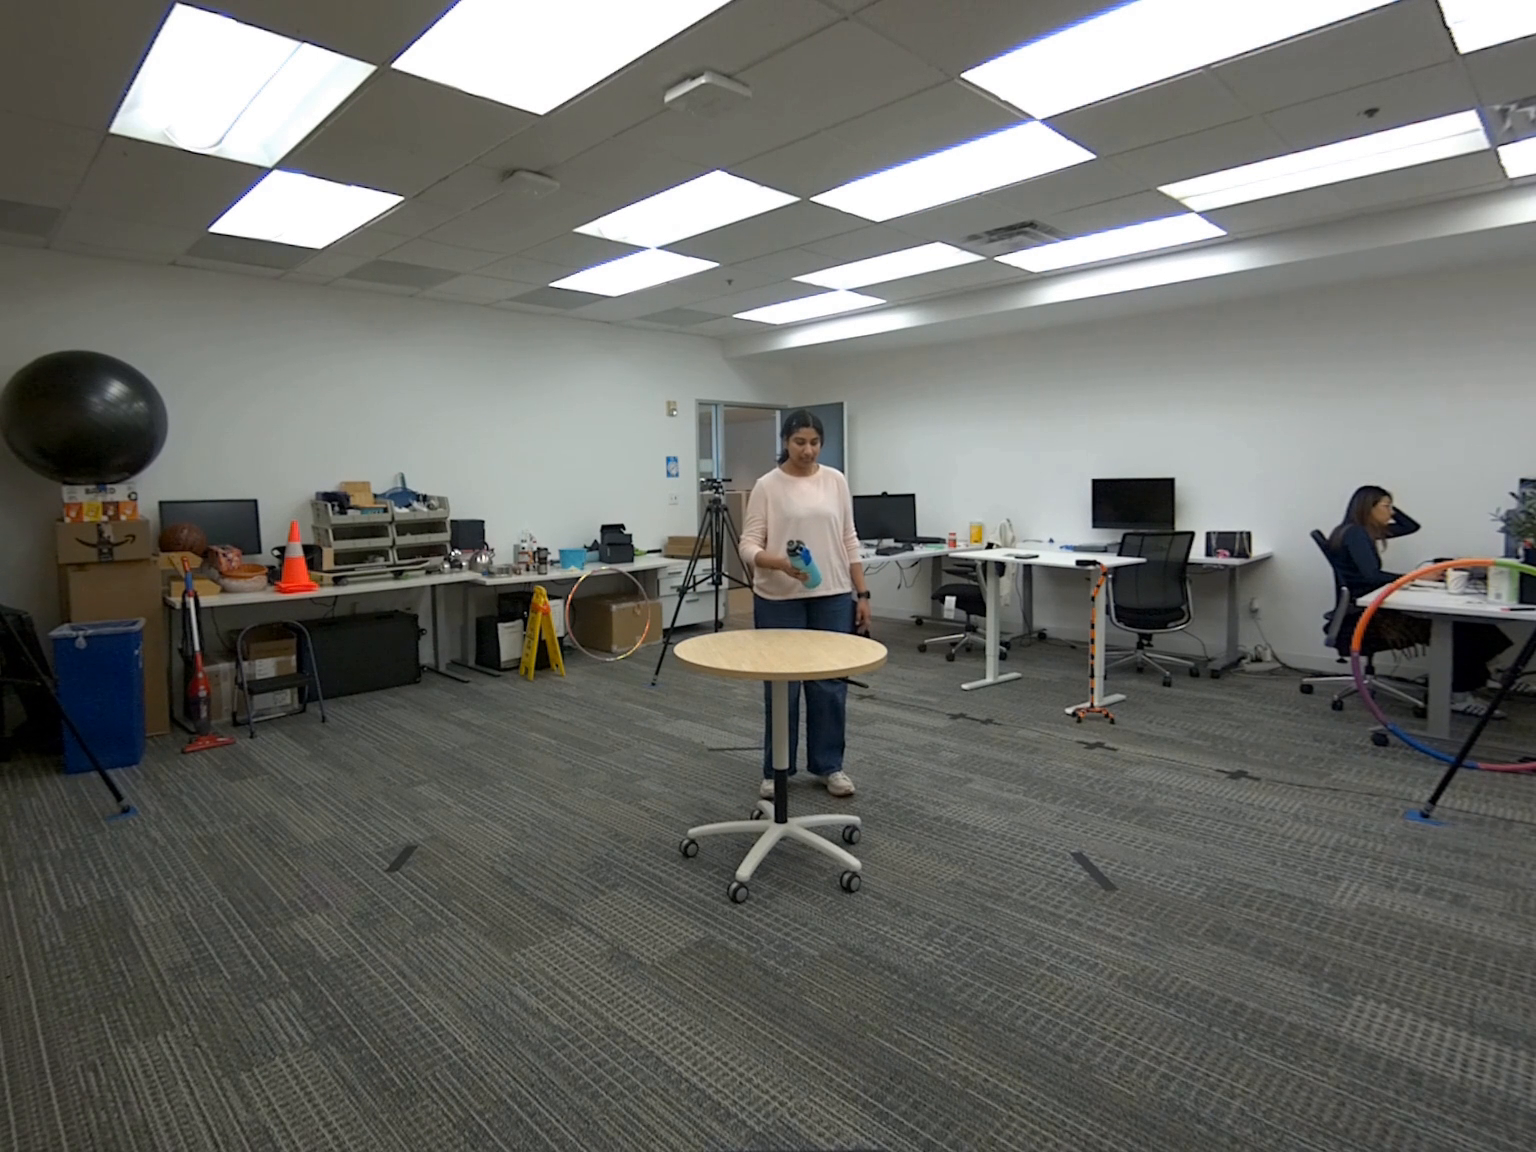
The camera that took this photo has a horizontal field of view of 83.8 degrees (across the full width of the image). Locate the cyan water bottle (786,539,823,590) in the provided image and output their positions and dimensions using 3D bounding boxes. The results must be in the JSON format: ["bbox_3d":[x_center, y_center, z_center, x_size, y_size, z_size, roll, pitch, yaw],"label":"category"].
[{"bbox_3d":[0.147,-0.068,3.444,0.094,0.094,0.273,1,-30,17],"label":"cyan water bottle"}]
